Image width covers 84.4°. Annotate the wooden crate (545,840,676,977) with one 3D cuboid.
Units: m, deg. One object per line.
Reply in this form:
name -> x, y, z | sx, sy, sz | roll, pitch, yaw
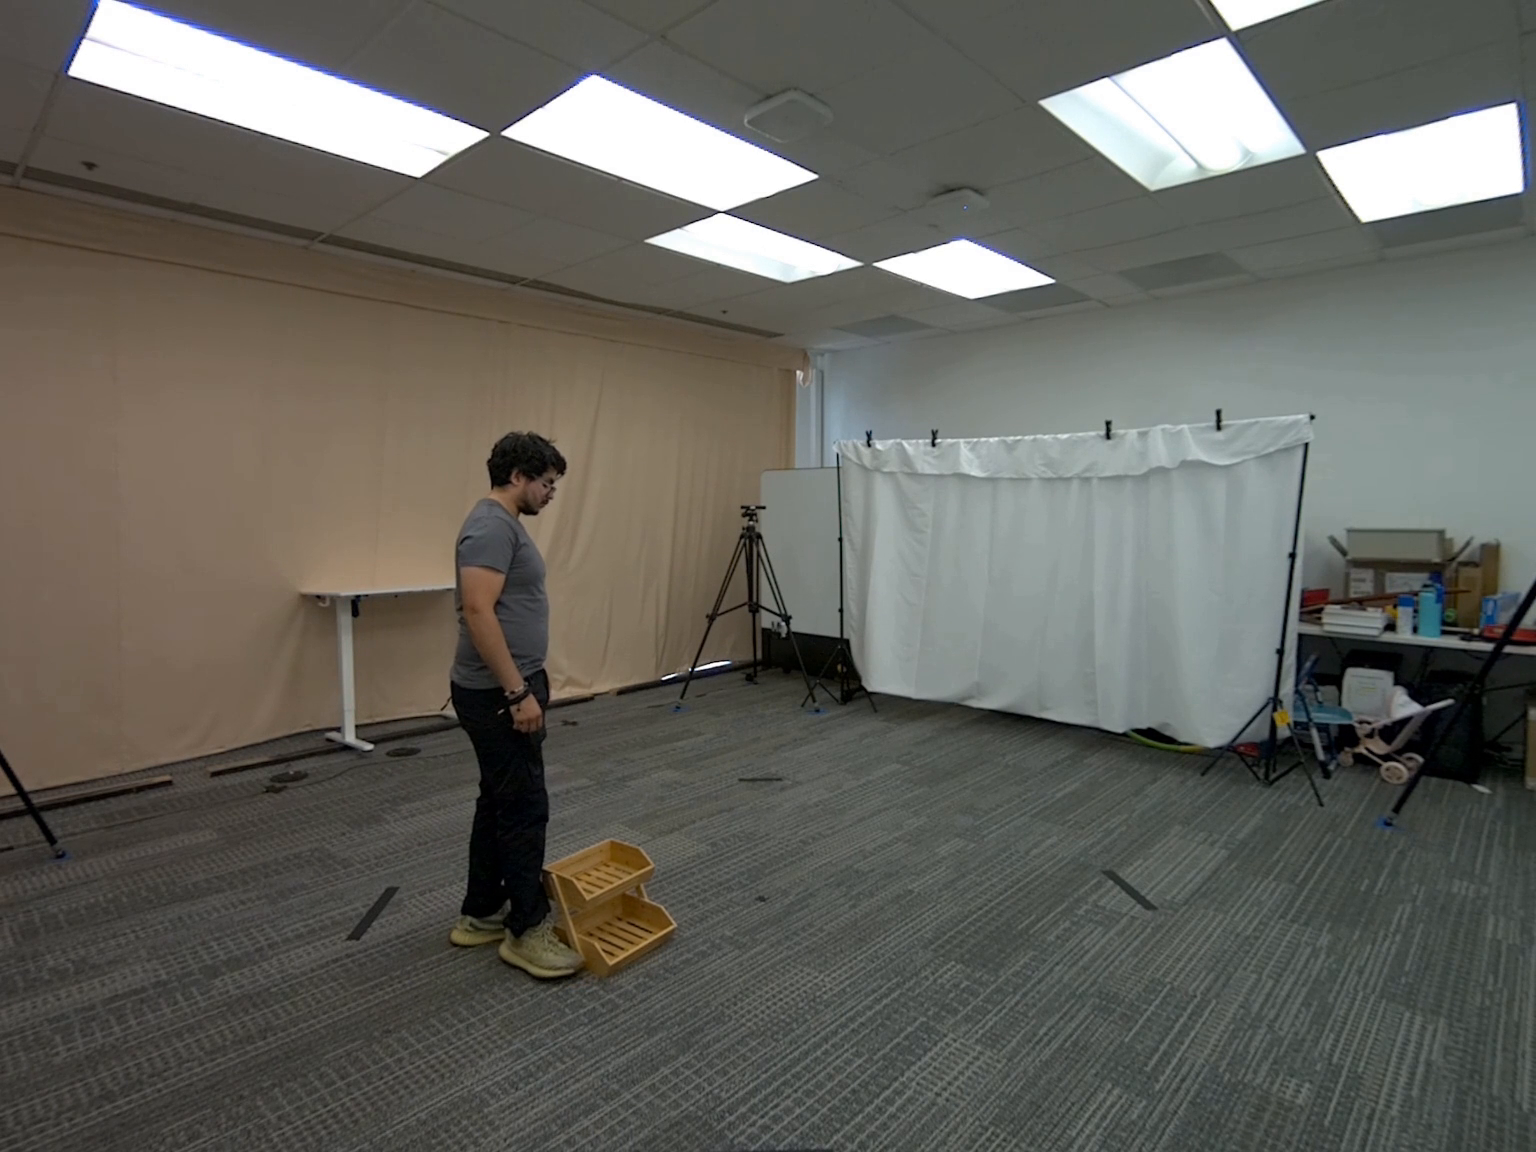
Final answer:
wooden crate -> -0.500, 1.043, 2.666 | 0.312, 0.273, 0.315 | 2, 4, 37
